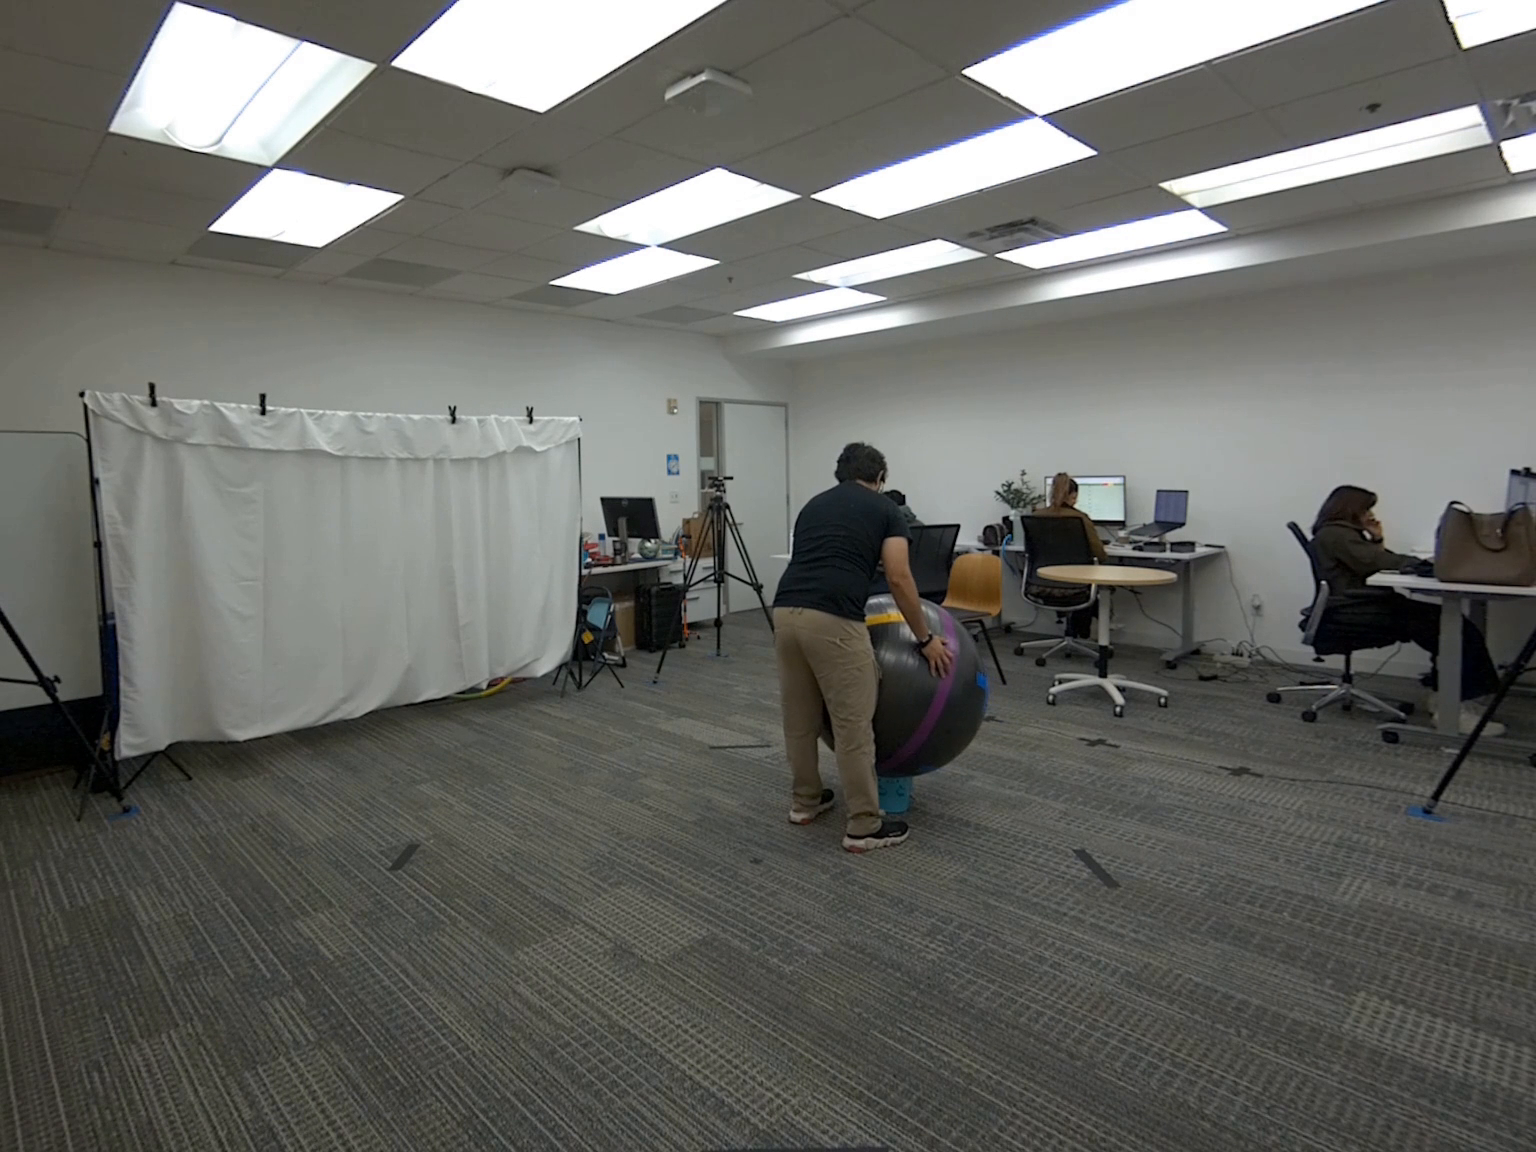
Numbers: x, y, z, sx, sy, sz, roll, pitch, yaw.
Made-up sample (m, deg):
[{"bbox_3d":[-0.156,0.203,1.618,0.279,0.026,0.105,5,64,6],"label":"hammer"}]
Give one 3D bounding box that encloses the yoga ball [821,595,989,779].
[{"bbox_3d":[0.537,0.465,3.592,0.757,0.755,0.762,-1,5,-2],"label":"yoga ball"}]
